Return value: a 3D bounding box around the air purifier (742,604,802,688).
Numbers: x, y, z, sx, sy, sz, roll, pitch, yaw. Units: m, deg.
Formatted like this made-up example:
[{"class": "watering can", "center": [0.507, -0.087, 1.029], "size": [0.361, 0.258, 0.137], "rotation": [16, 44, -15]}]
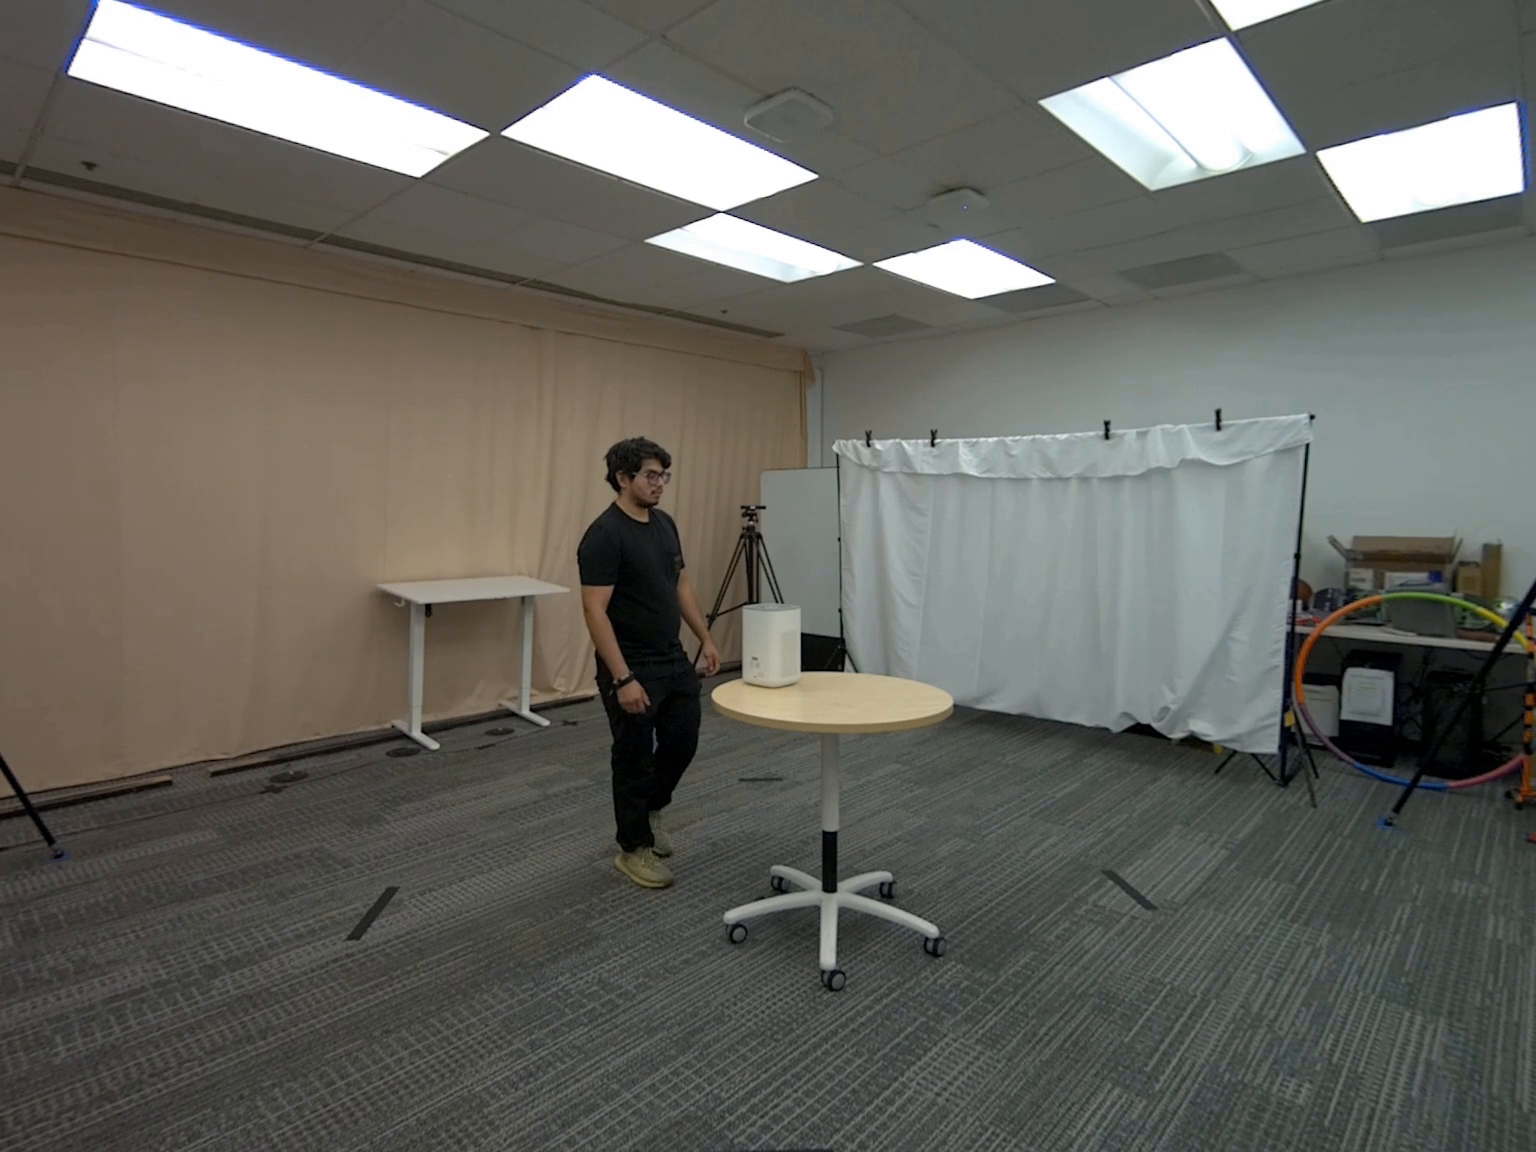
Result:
[{"class": "air purifier", "center": [0.019, 0.237, 2.878], "size": [0.177, 0.265, 0.166], "rotation": [4, 4, 43]}]
